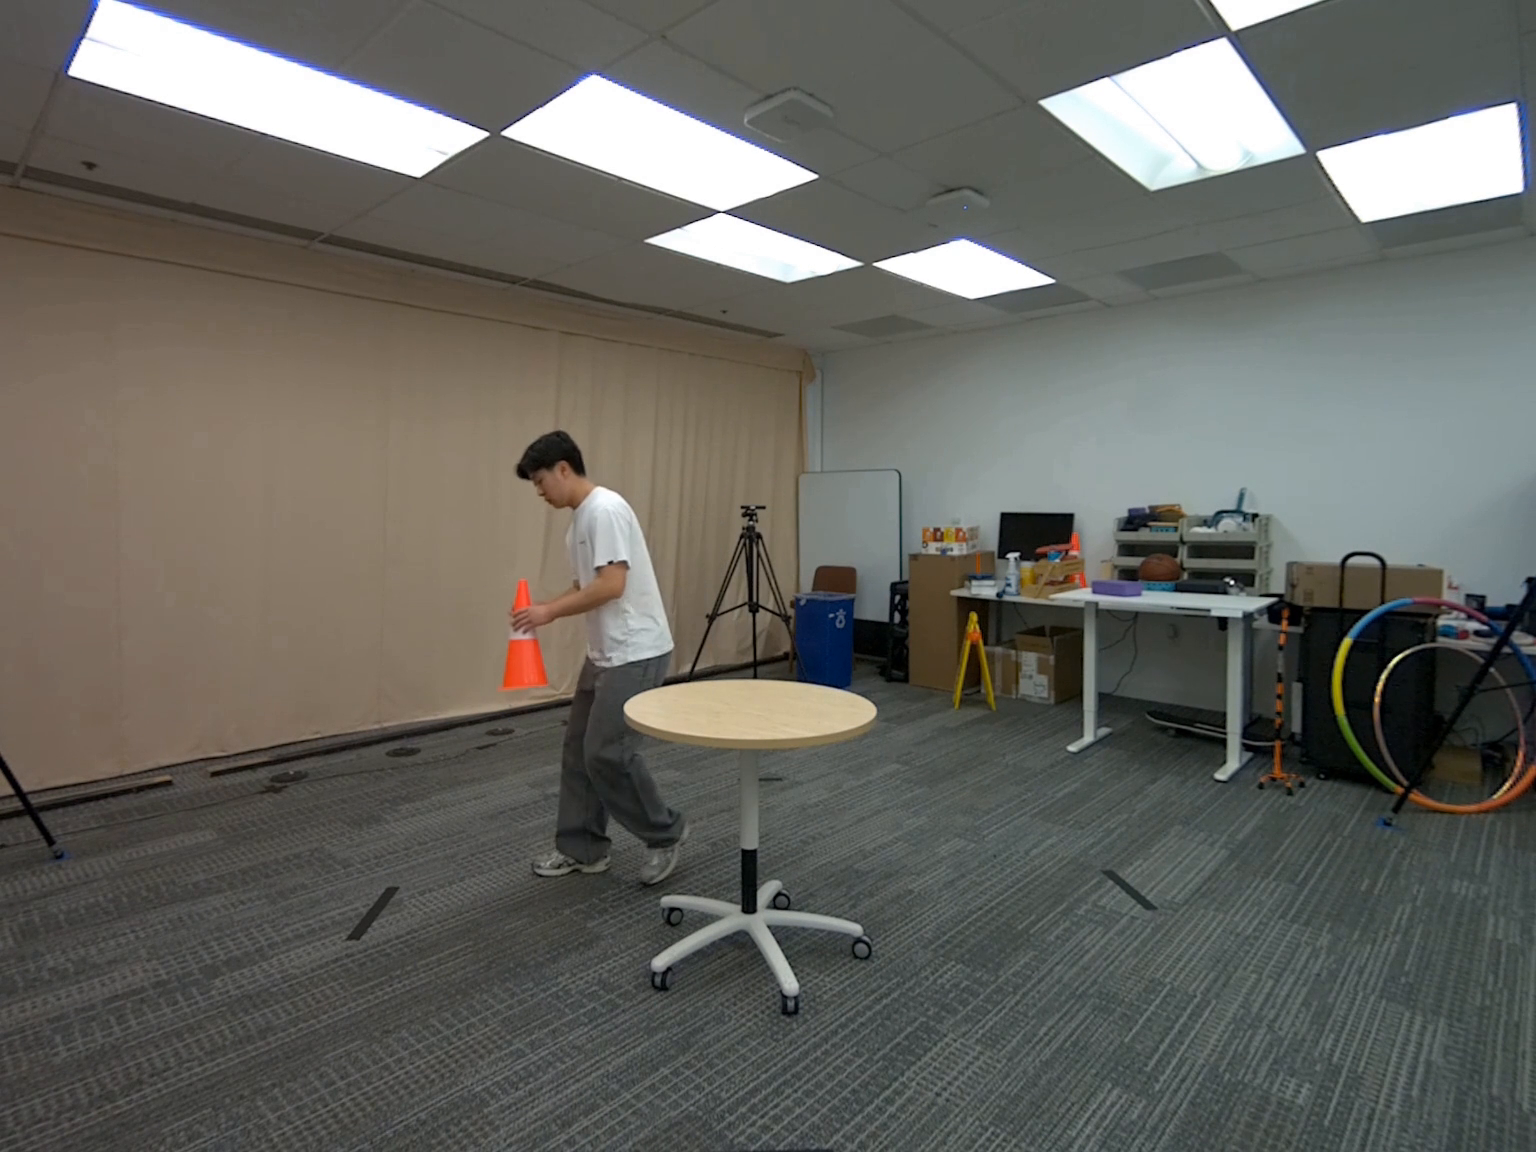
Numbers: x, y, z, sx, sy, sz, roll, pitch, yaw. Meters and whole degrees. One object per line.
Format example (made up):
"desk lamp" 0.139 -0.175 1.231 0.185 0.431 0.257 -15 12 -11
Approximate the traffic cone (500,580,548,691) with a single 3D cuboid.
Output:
"traffic cone" -0.878 0.226 3.050 0.202 0.385 0.205 -3 -6 -16
